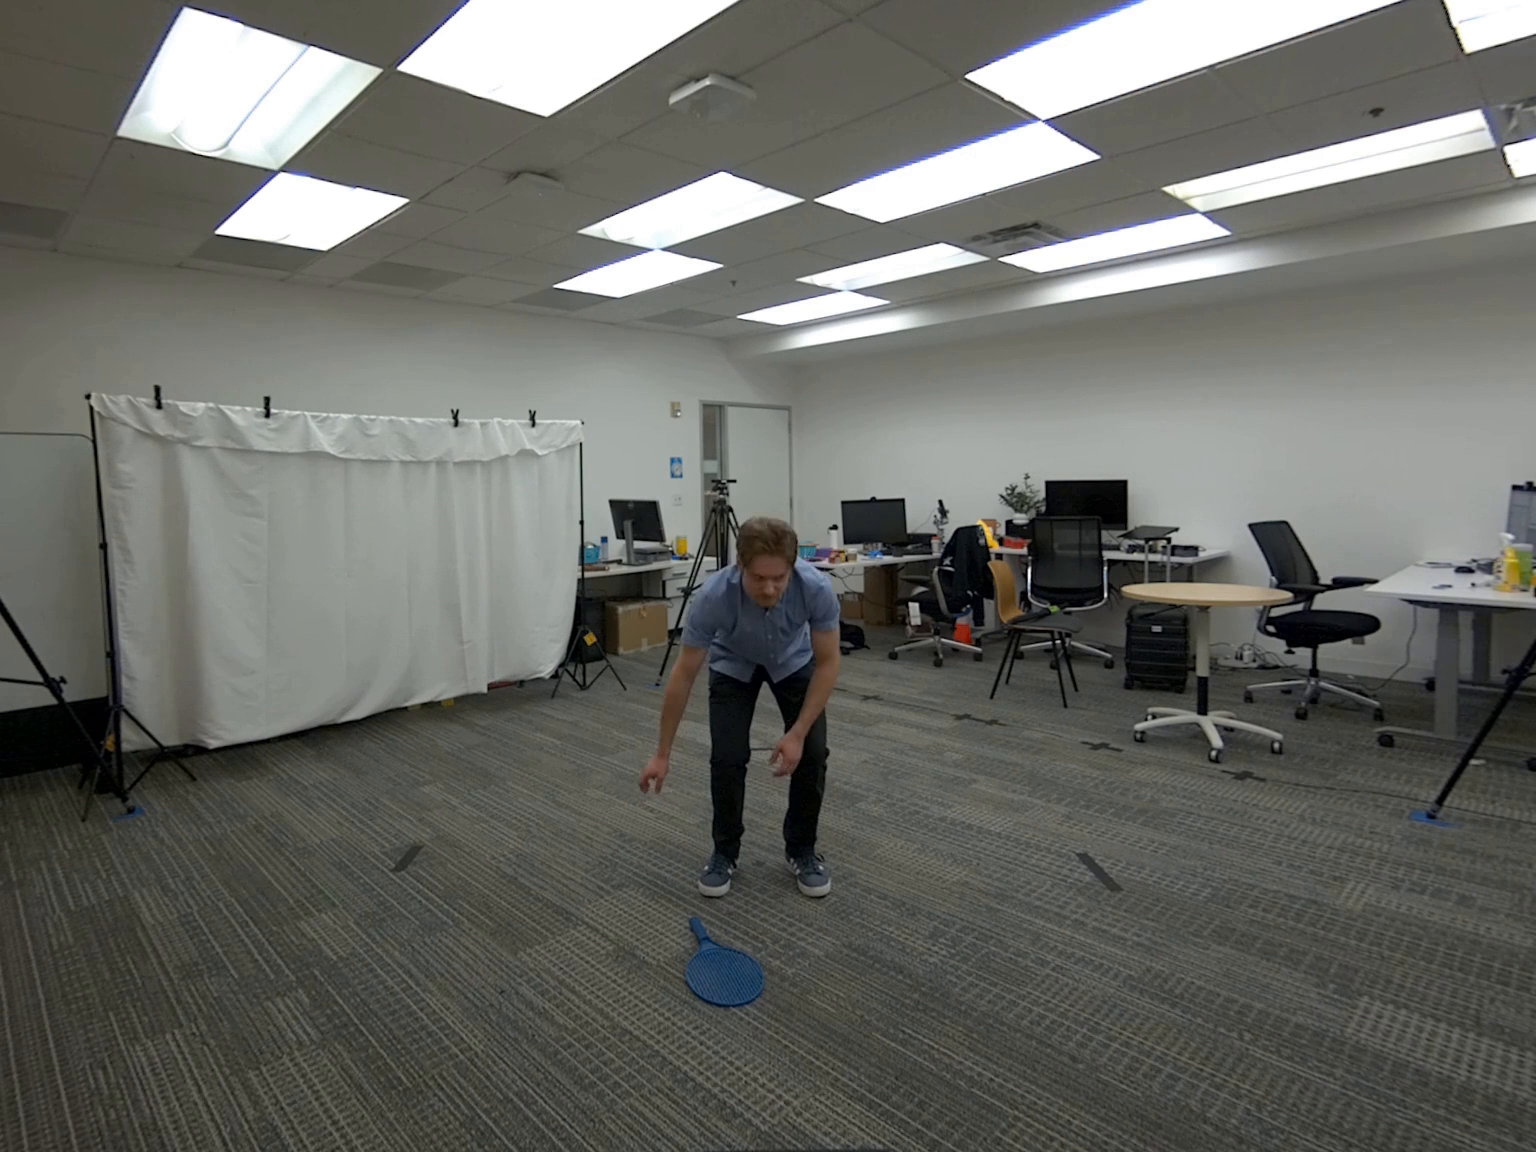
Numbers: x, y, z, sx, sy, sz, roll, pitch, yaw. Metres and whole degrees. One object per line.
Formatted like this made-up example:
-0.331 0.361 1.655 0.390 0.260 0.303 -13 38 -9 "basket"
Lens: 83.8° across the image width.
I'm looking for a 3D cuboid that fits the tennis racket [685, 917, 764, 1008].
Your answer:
-0.150 1.110 2.475 0.210 0.031 0.443 -4 9 -22 "tennis racket"
